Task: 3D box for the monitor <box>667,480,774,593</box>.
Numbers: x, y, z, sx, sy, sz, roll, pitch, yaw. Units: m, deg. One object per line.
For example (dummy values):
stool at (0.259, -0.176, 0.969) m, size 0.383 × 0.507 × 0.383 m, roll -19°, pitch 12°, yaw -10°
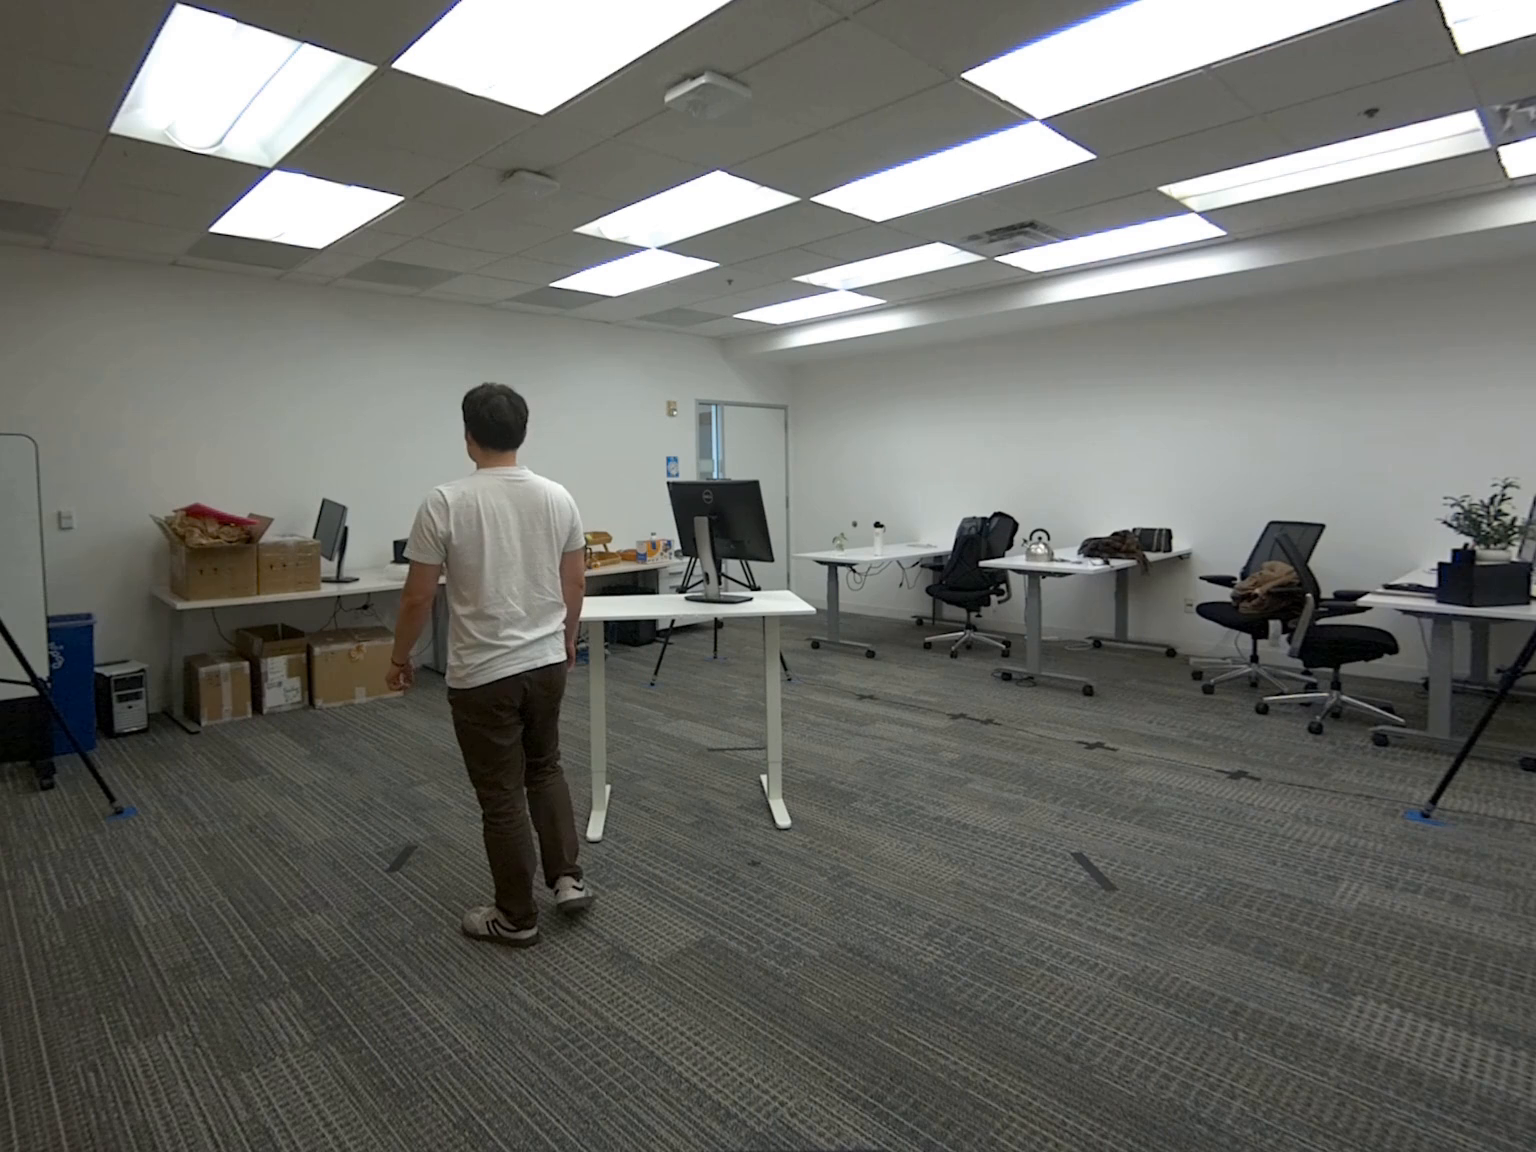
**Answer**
monitor at (-0.230, -0.146, 3.647) m, size 0.555 × 0.520 × 0.182 m, roll 3°, pitch 8°, yaw 40°
